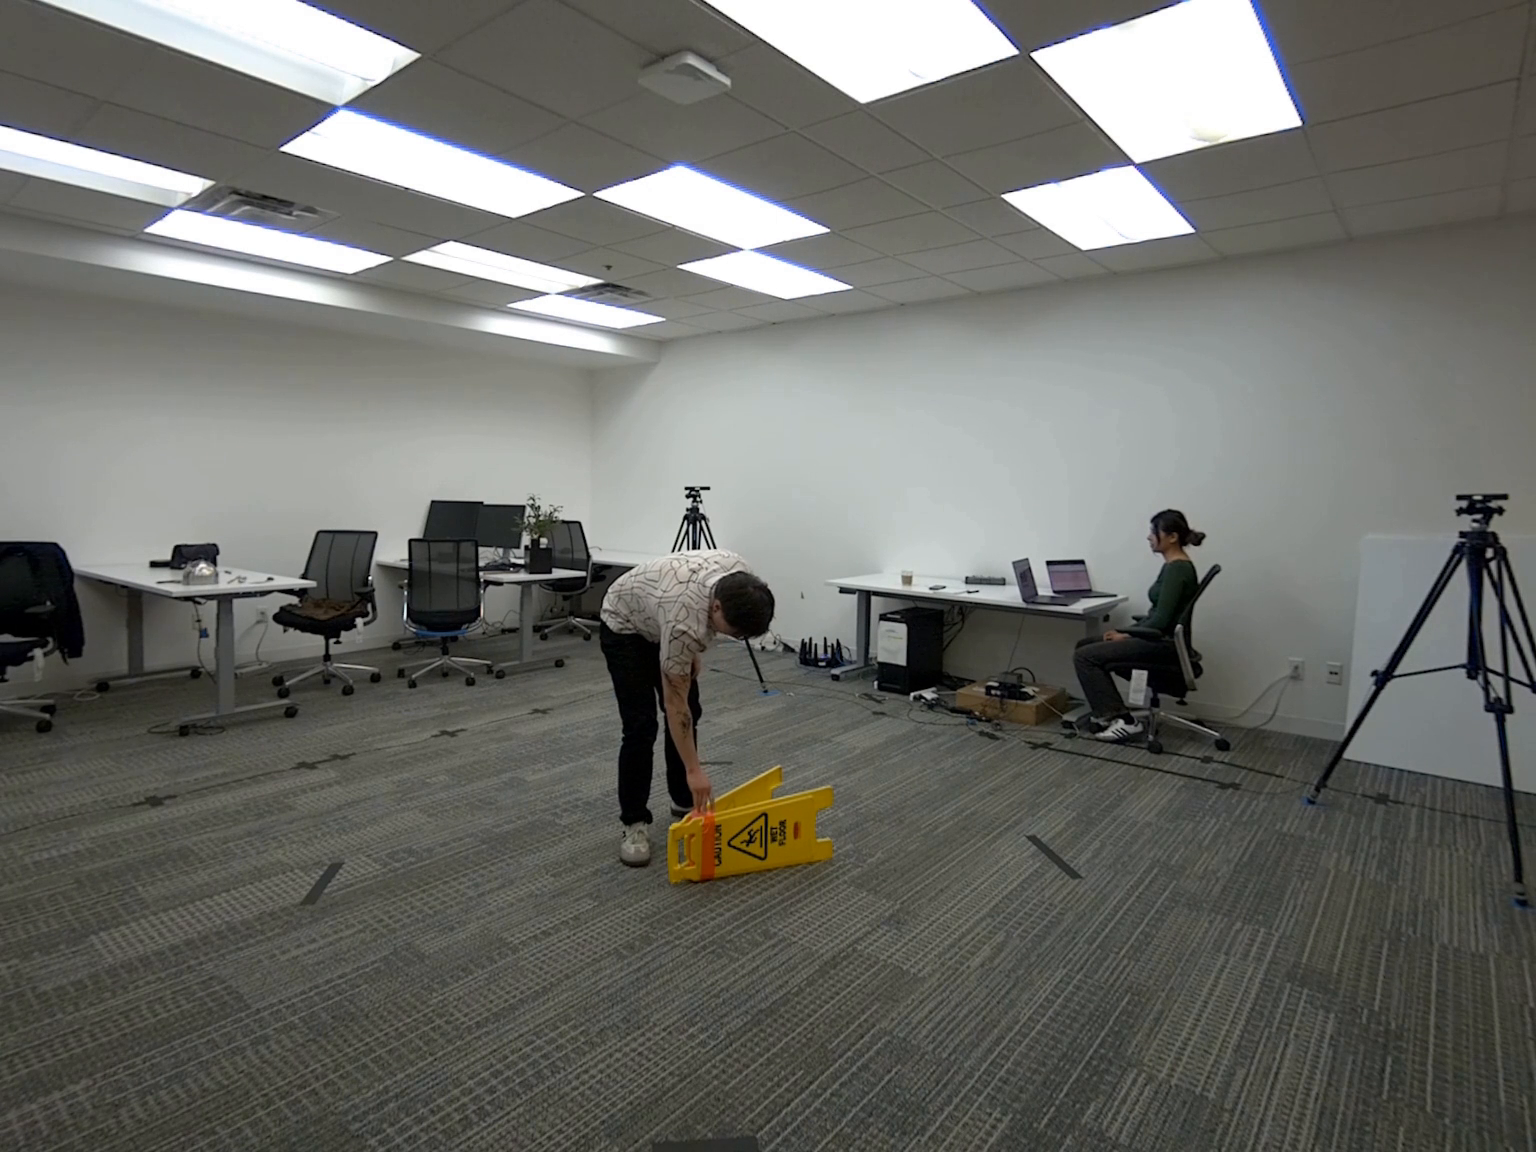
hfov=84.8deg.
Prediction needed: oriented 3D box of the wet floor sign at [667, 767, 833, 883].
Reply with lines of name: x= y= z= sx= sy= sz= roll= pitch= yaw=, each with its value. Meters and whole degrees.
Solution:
wet floor sign: x=-0.105 y=0.936 z=3.125 sx=0.628 sy=0.281 sz=0.299 roll=-5 pitch=7 yaw=-39
